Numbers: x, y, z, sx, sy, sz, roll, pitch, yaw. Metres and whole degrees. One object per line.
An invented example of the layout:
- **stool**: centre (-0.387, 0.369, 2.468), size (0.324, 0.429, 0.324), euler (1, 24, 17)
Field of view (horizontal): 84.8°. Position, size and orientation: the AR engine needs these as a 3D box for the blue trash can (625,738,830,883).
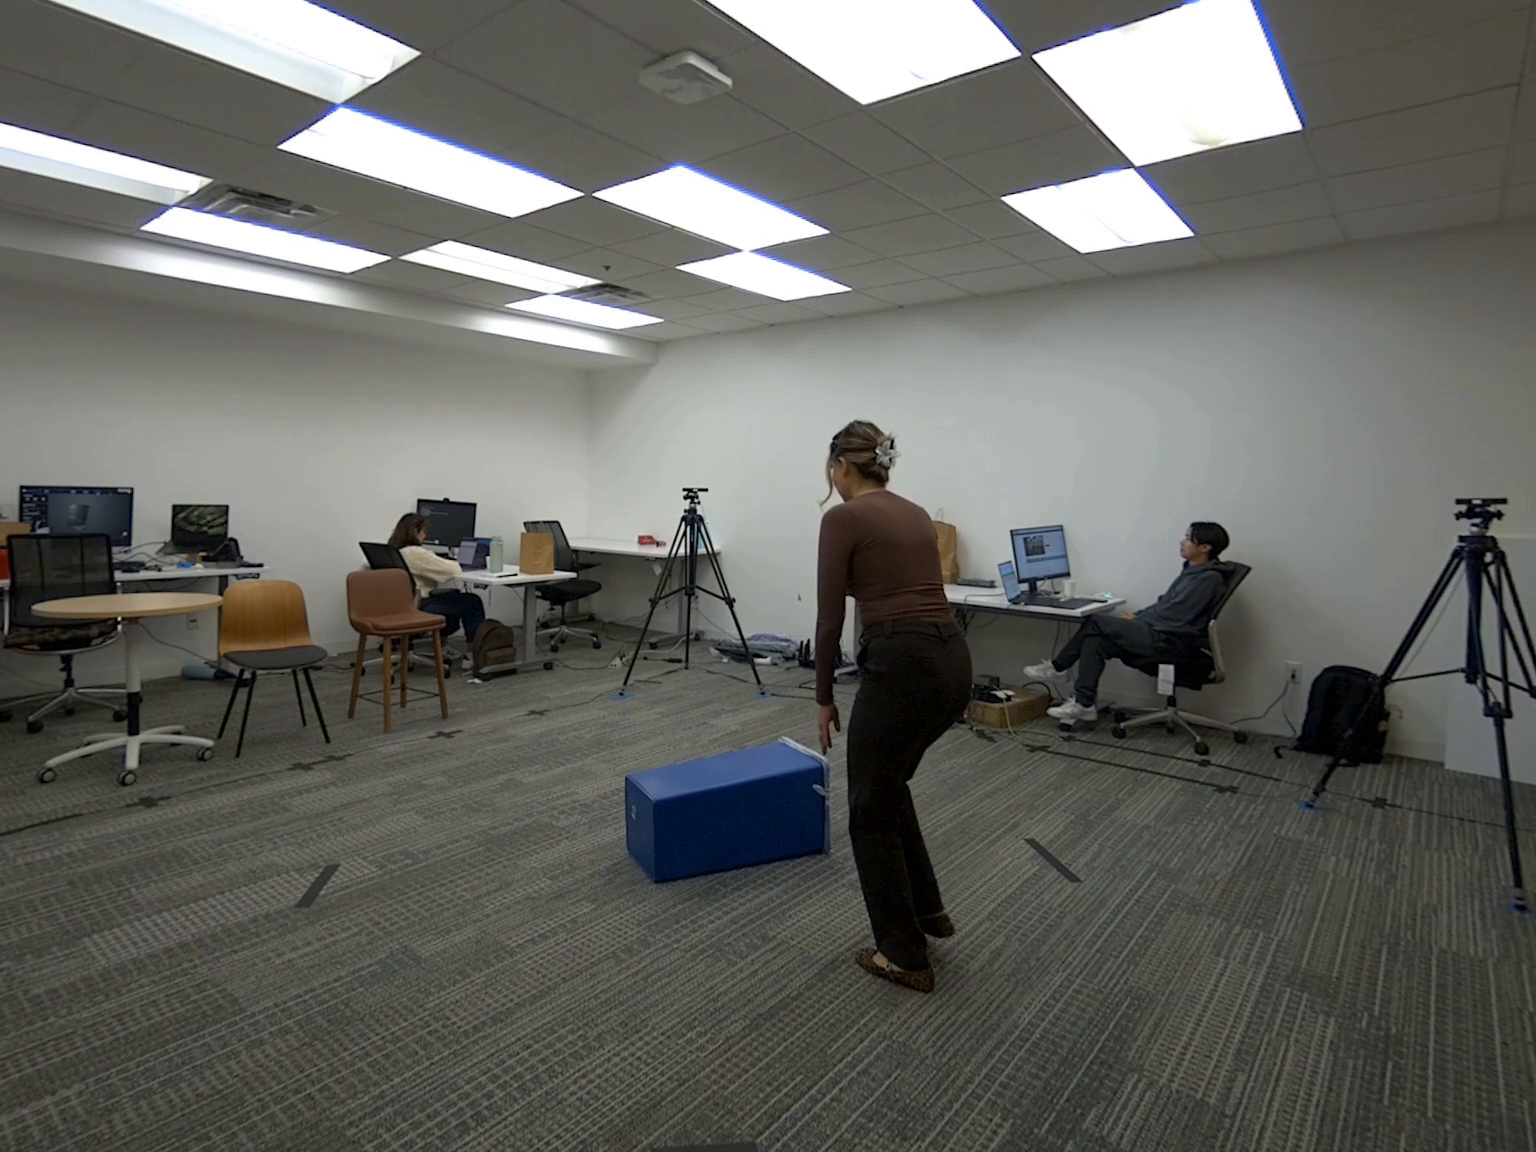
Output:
- **blue trash can**: centre (-0.171, 0.882, 3.256), size (0.697, 0.376, 0.385), euler (-3, 6, -26)
